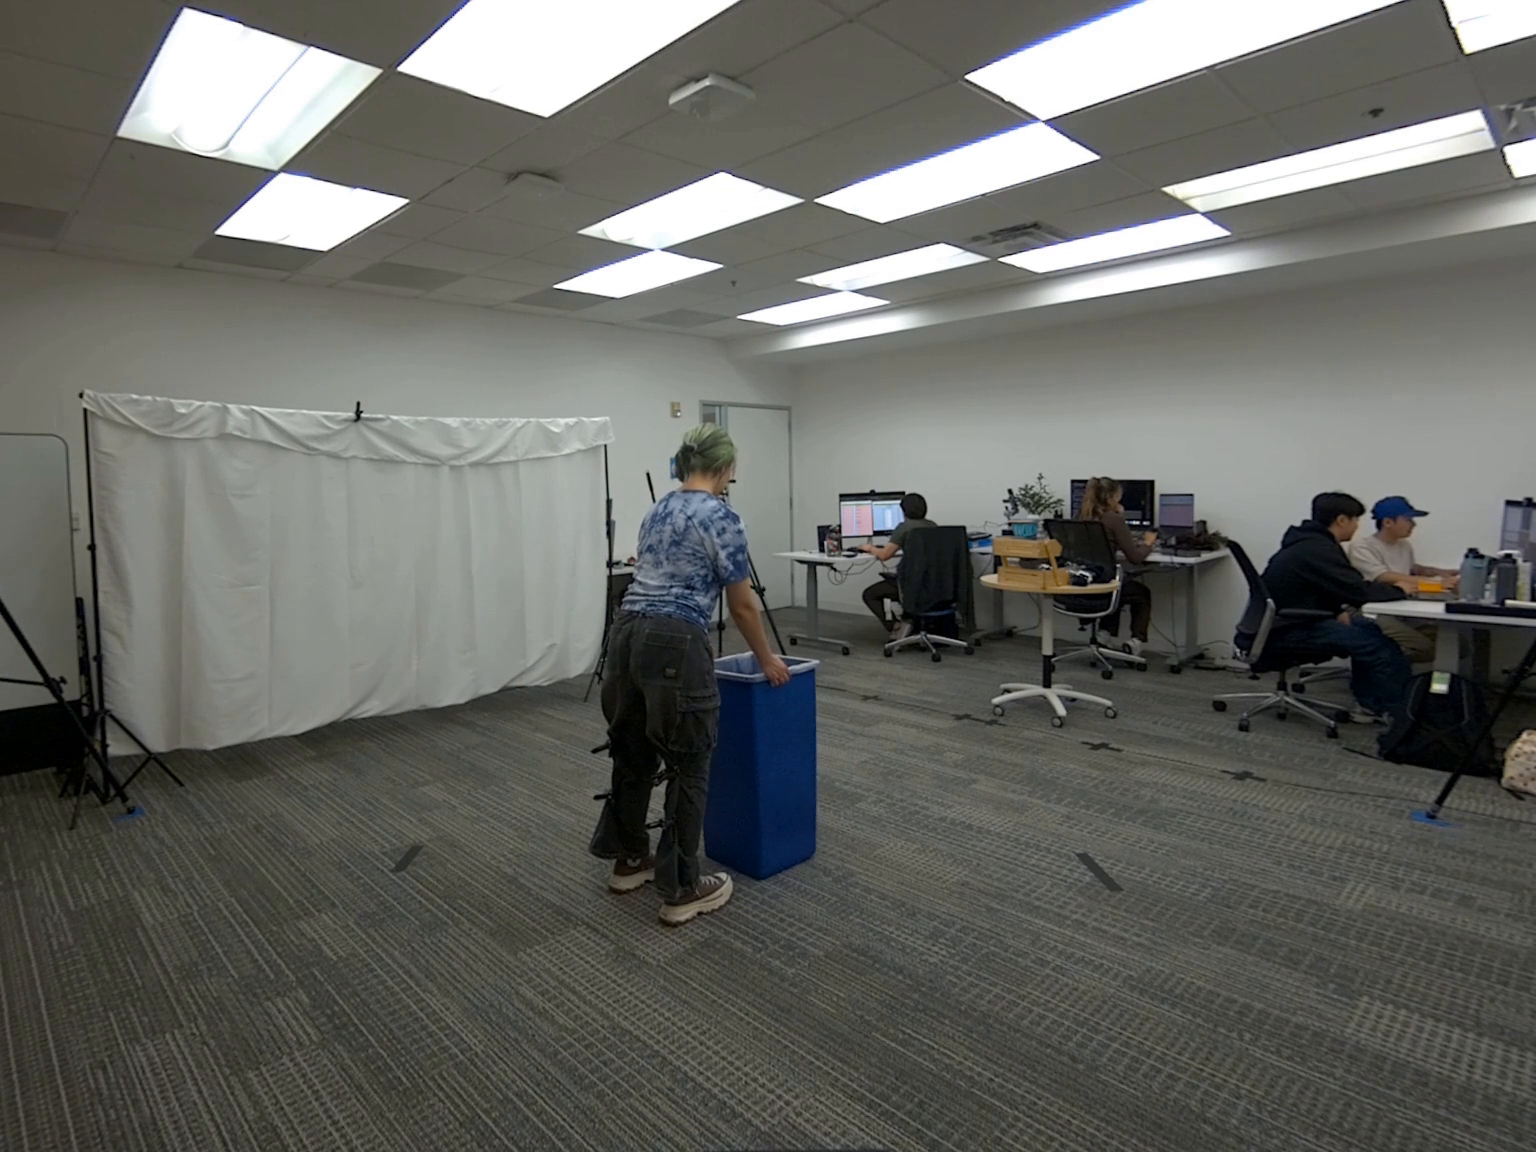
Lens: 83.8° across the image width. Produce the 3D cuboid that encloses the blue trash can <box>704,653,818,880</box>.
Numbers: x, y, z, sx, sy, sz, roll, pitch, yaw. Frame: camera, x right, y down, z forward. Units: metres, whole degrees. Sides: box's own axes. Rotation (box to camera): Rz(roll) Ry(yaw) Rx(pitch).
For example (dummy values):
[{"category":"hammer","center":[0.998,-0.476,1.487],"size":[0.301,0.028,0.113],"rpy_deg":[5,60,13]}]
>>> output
[{"category":"blue trash can","center":[-0.050,0.677,3.170],"size":[0.368,0.712,0.385],"rpy_deg":[-4,4,-44]}]
